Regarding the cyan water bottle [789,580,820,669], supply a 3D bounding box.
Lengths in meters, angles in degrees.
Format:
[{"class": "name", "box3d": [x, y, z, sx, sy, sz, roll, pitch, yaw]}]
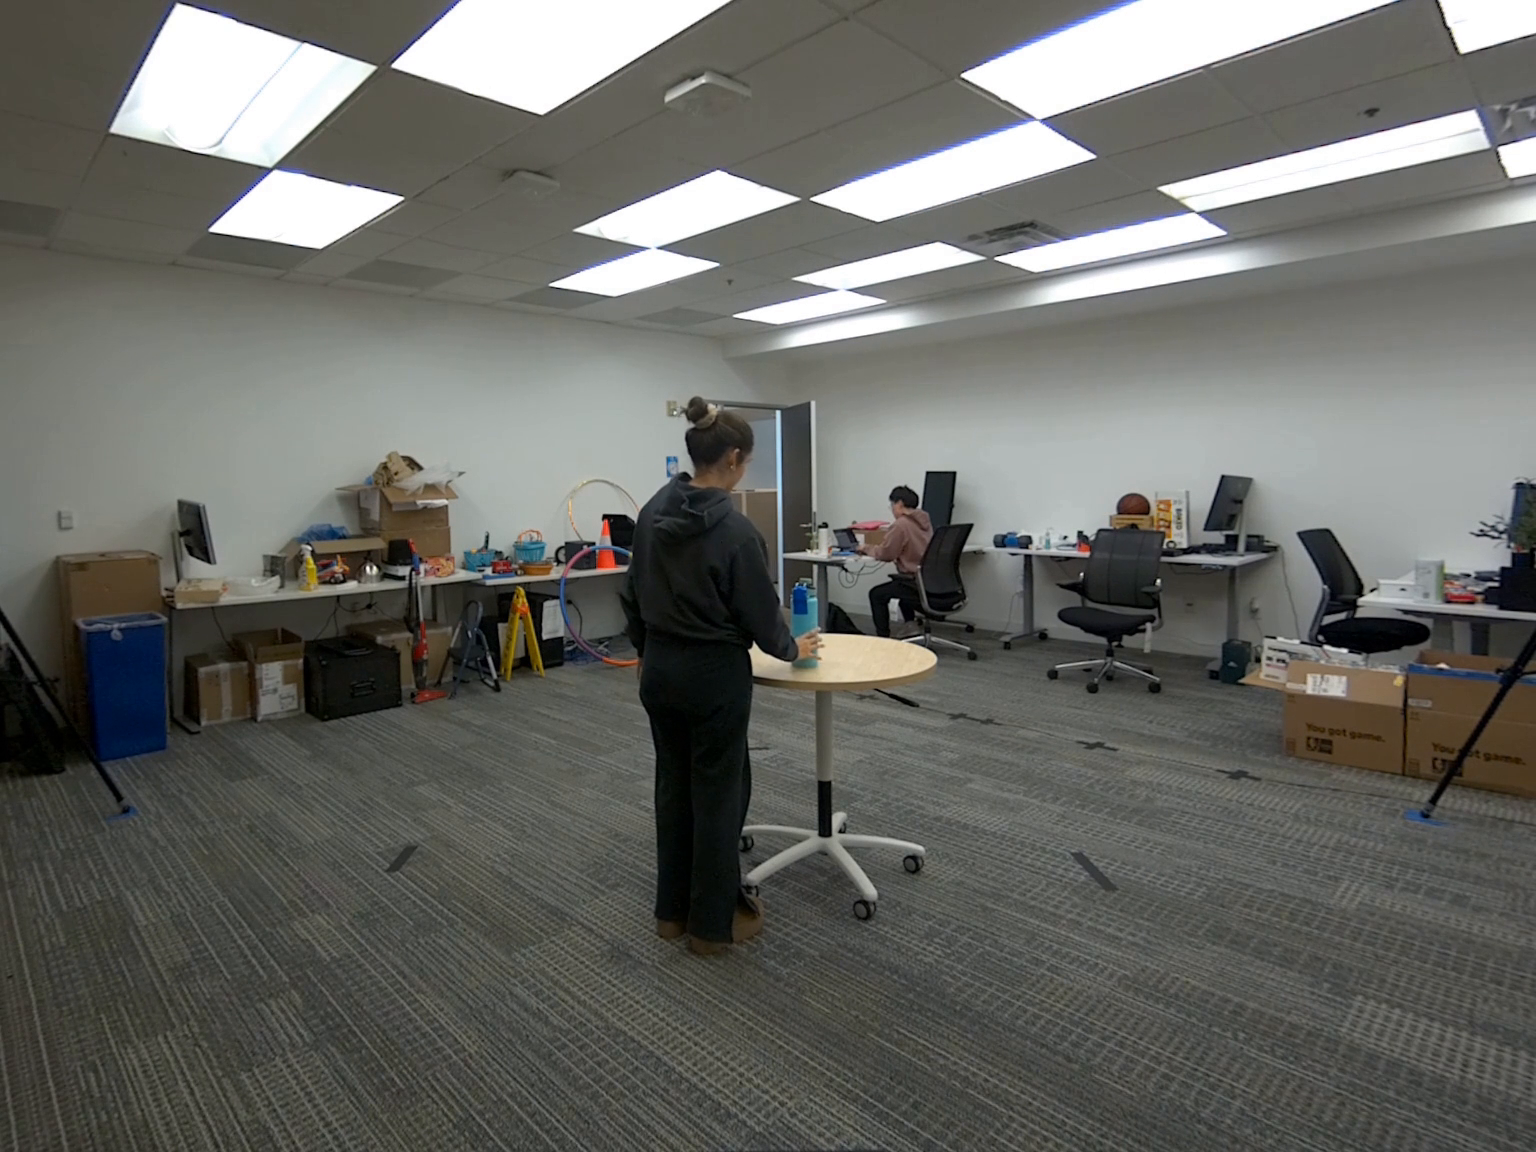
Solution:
[{"class": "cyan water bottle", "box3d": [0.123, 0.154, 2.795, 0.092, 0.281, 0.093, -1, 8, -1]}]
